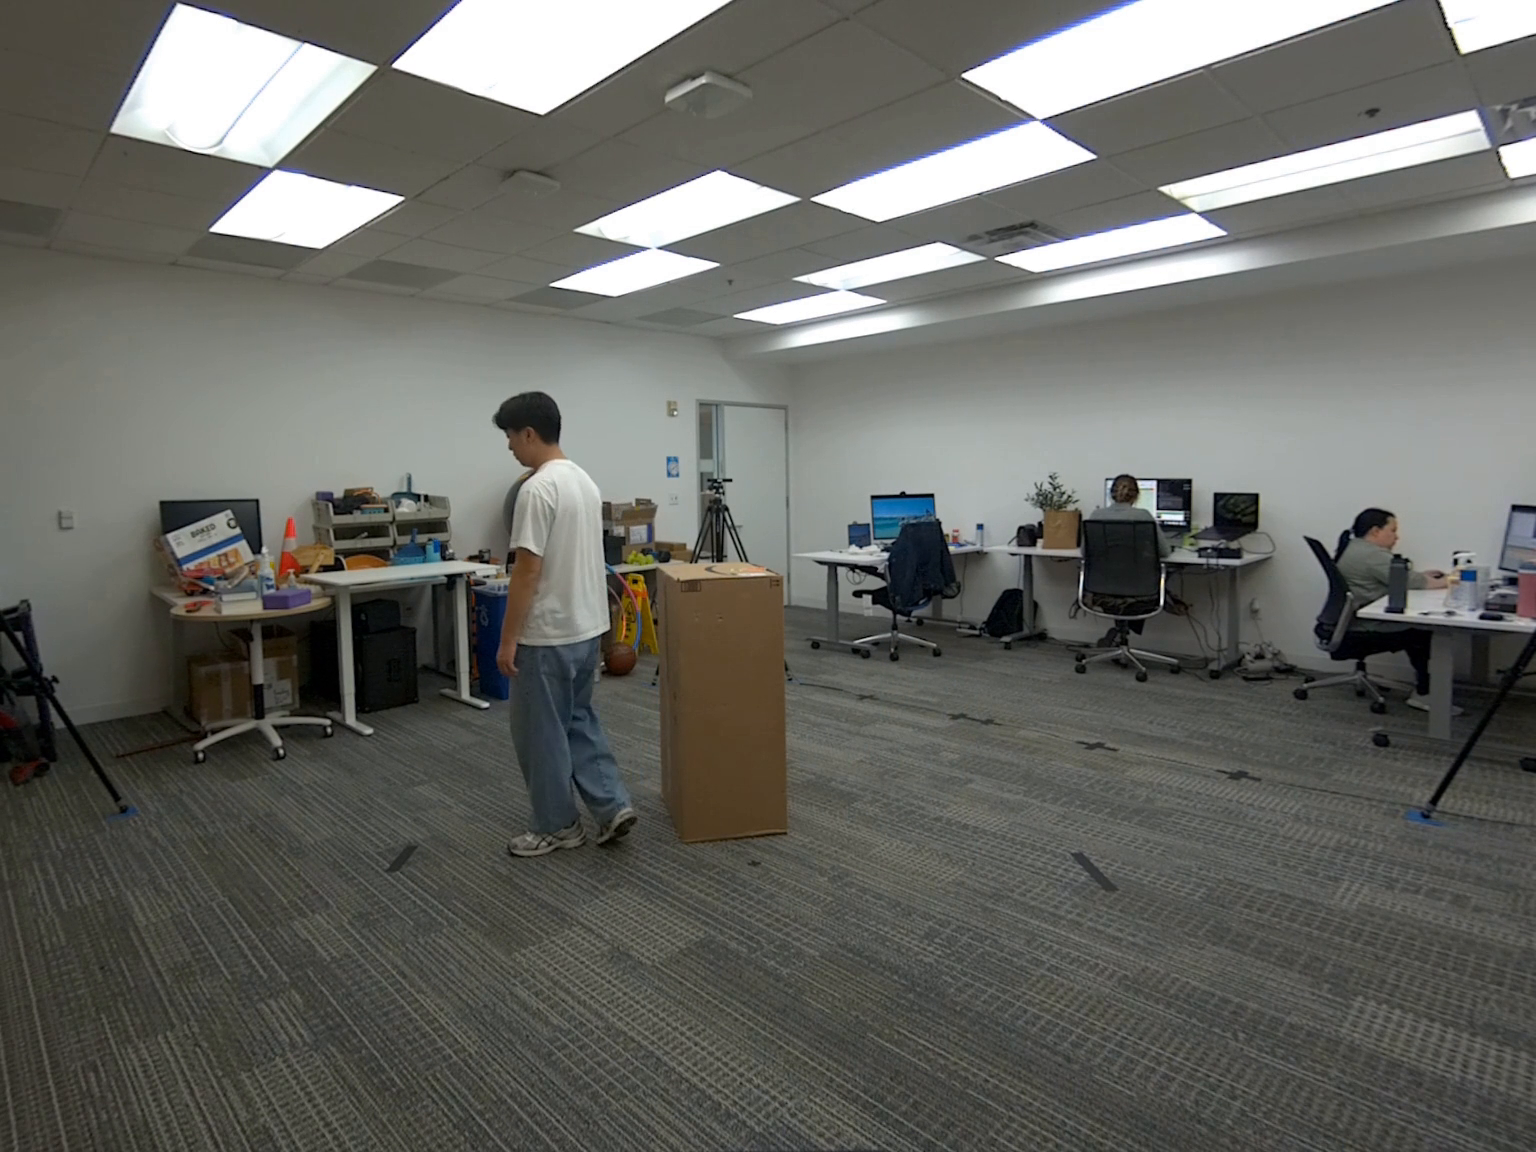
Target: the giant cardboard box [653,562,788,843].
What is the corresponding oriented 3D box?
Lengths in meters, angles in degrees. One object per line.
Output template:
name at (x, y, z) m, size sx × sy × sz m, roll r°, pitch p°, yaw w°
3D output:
giant cardboard box at (-0.205, 0.484, 3.574) m, size 0.420 × 1.022 × 0.588 m, roll -2°, pitch 4°, yaw -16°
